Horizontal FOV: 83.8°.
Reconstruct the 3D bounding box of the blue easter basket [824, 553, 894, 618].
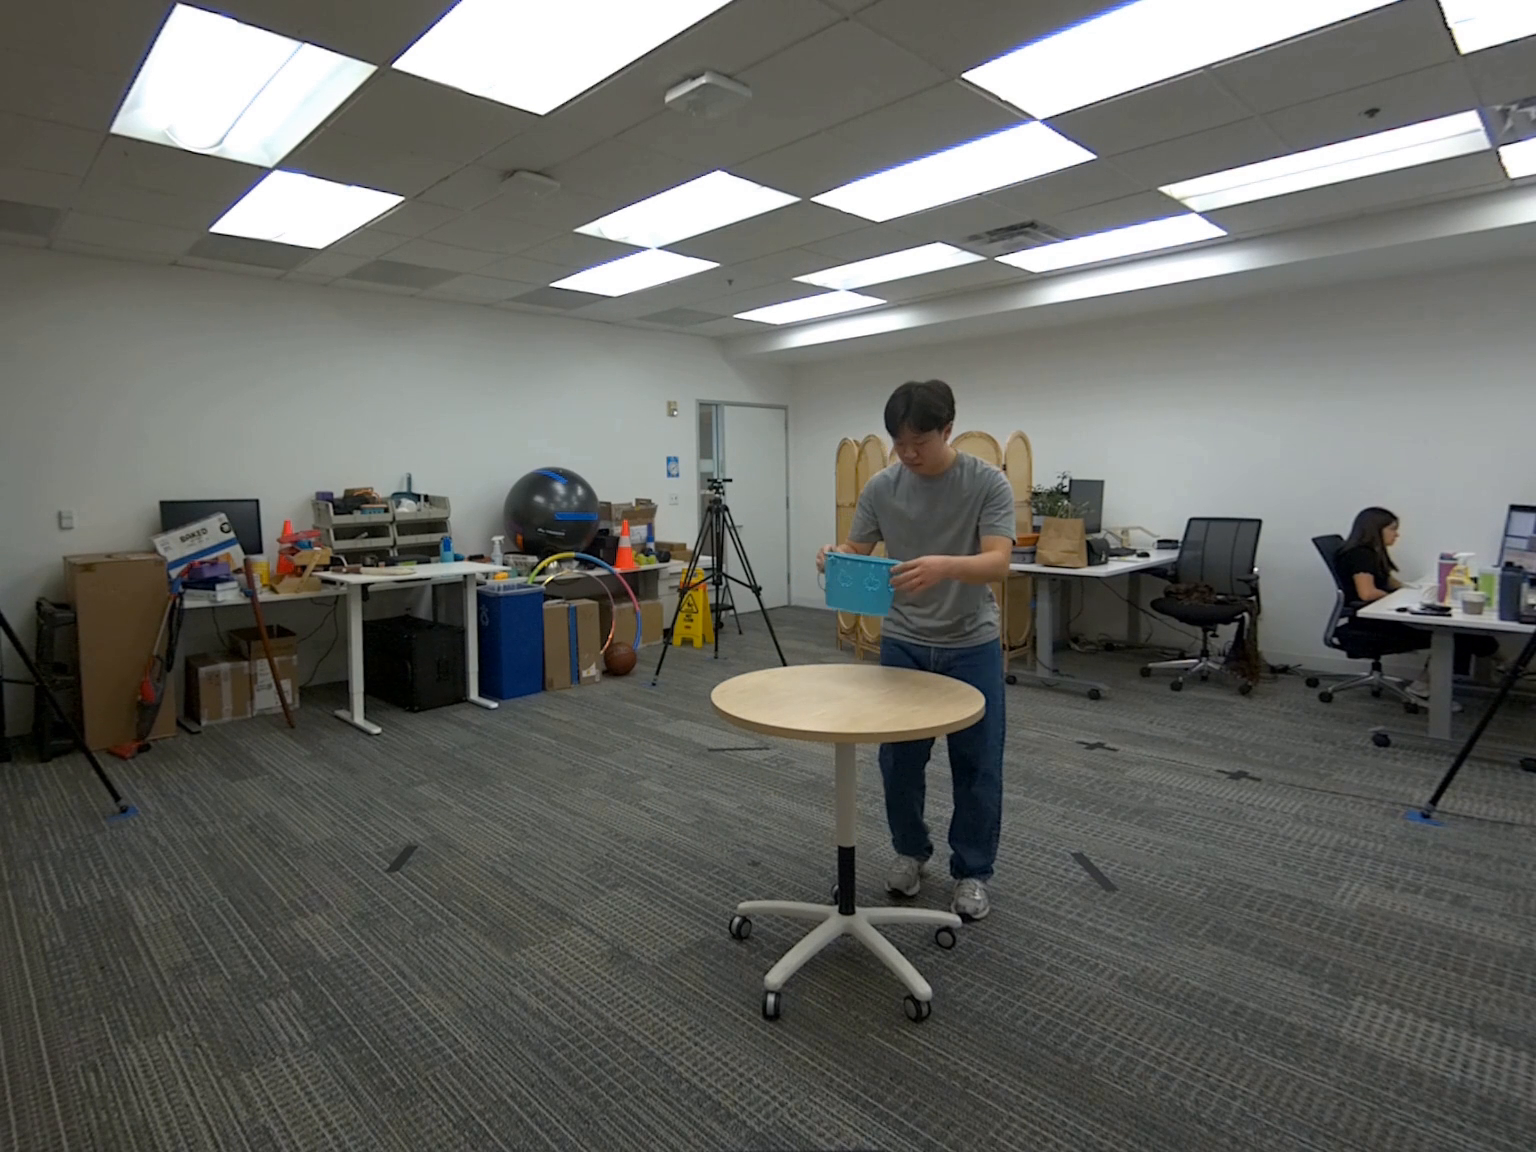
[{"bbox_3d":[0.282,0.025,2.440,0.243,0.155,0.245,5,4,-2],"label":"blue easter basket"}]
